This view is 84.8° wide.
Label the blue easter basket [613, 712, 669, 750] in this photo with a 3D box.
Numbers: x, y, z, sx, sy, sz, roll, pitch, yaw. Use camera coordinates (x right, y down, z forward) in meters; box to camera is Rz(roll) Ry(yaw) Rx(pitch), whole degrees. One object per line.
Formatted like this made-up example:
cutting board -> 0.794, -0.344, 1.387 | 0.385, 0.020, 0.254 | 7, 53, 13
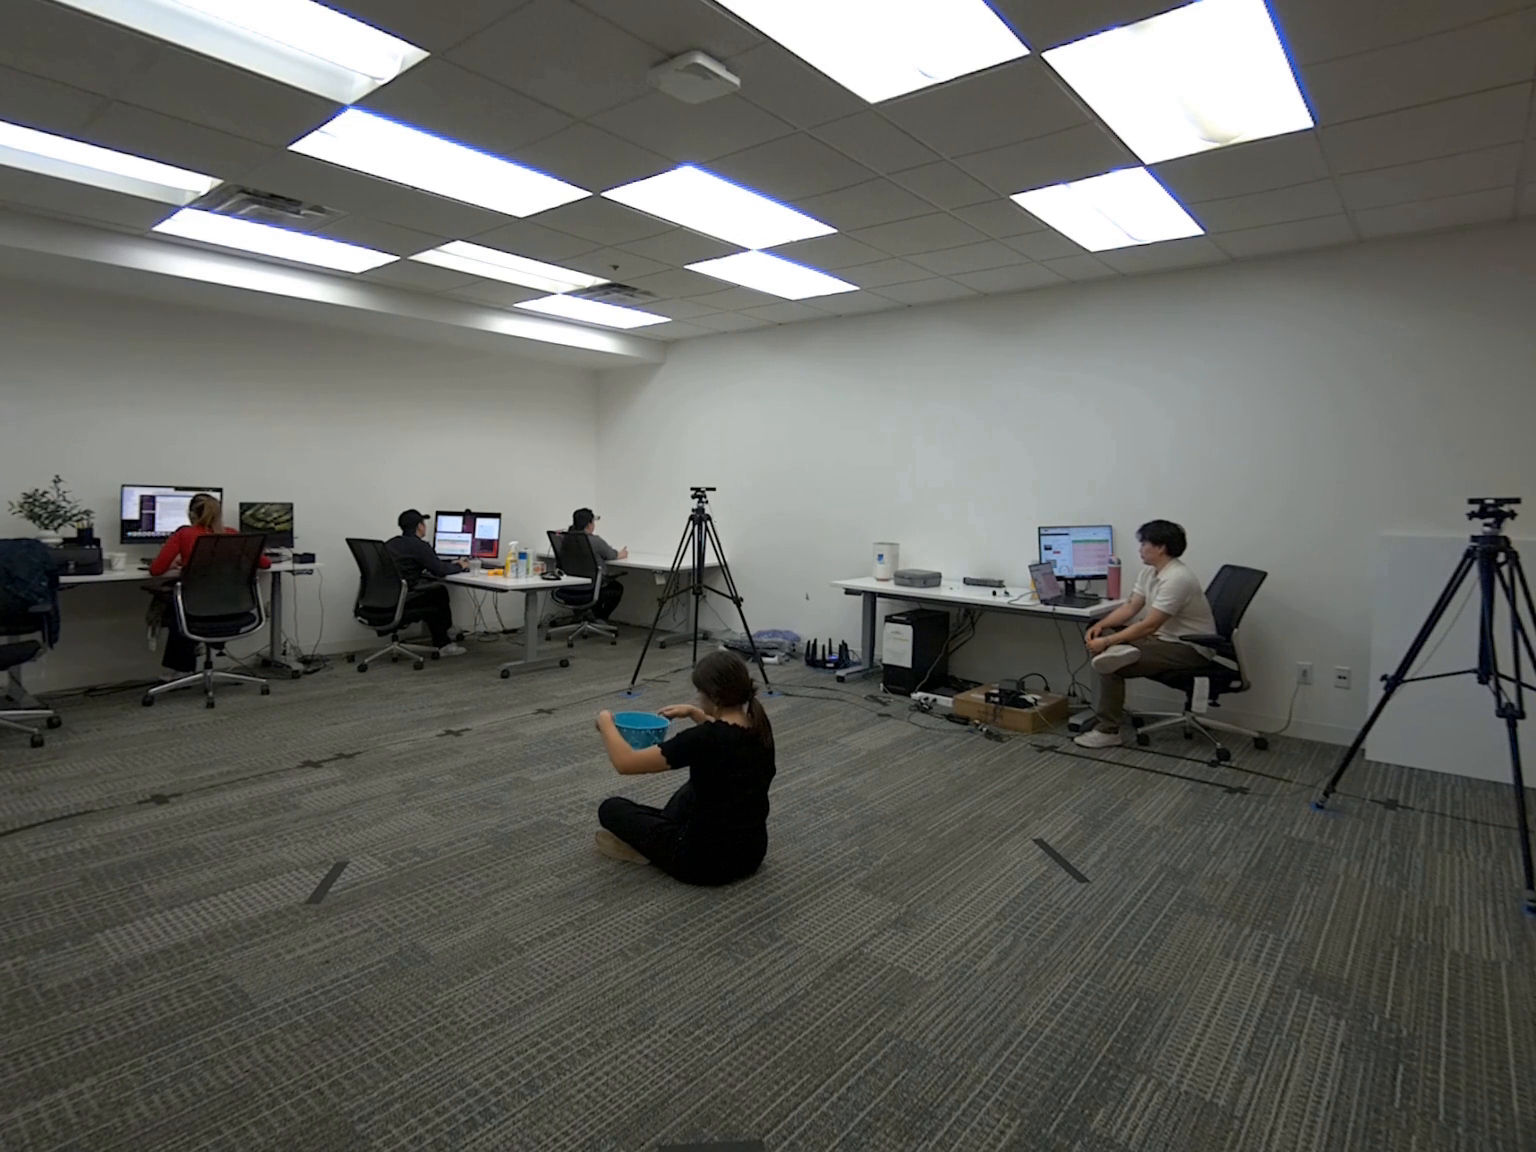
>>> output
blue easter basket -> -0.493, 0.611, 3.157 | 0.243, 0.155, 0.245 | 6, 5, -2
